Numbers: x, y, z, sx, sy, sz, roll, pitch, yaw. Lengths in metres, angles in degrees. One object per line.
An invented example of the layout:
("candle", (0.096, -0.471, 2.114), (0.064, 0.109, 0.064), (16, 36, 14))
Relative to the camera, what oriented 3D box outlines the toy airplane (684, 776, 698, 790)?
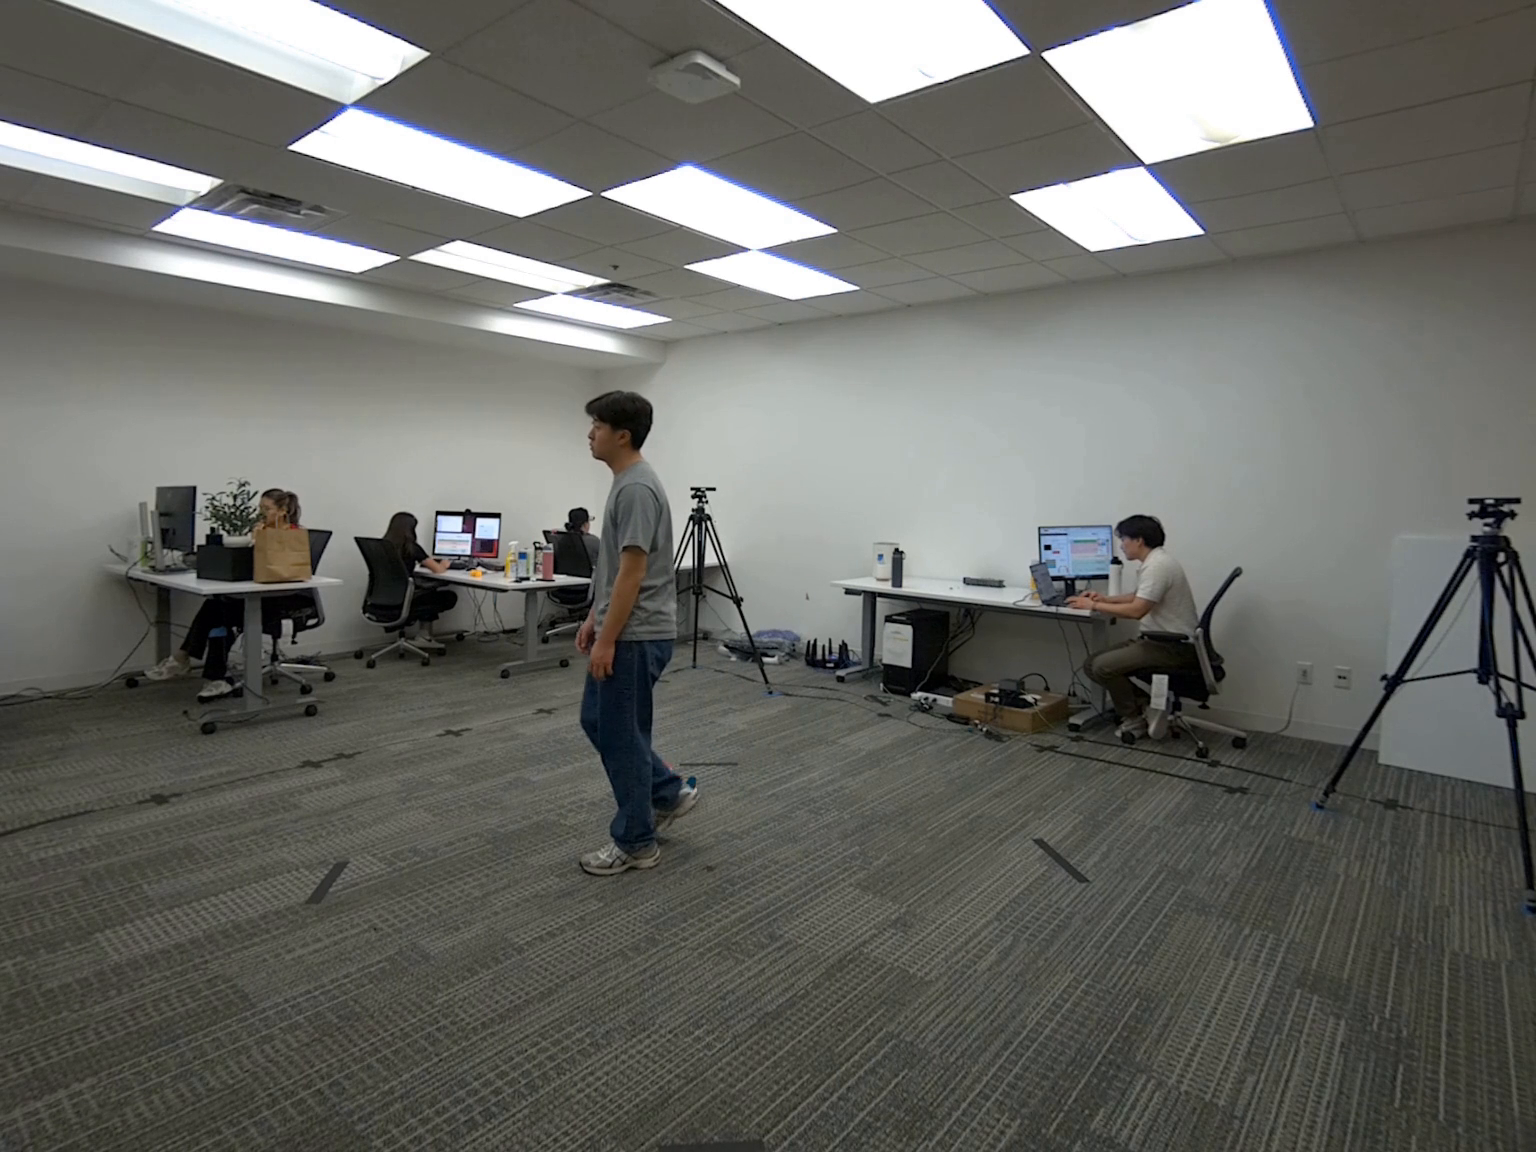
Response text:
("toy airplane", (-0.458, 0.922, 3.761), (0.254, 0.156, 0.257), (-2, 5, -22))
